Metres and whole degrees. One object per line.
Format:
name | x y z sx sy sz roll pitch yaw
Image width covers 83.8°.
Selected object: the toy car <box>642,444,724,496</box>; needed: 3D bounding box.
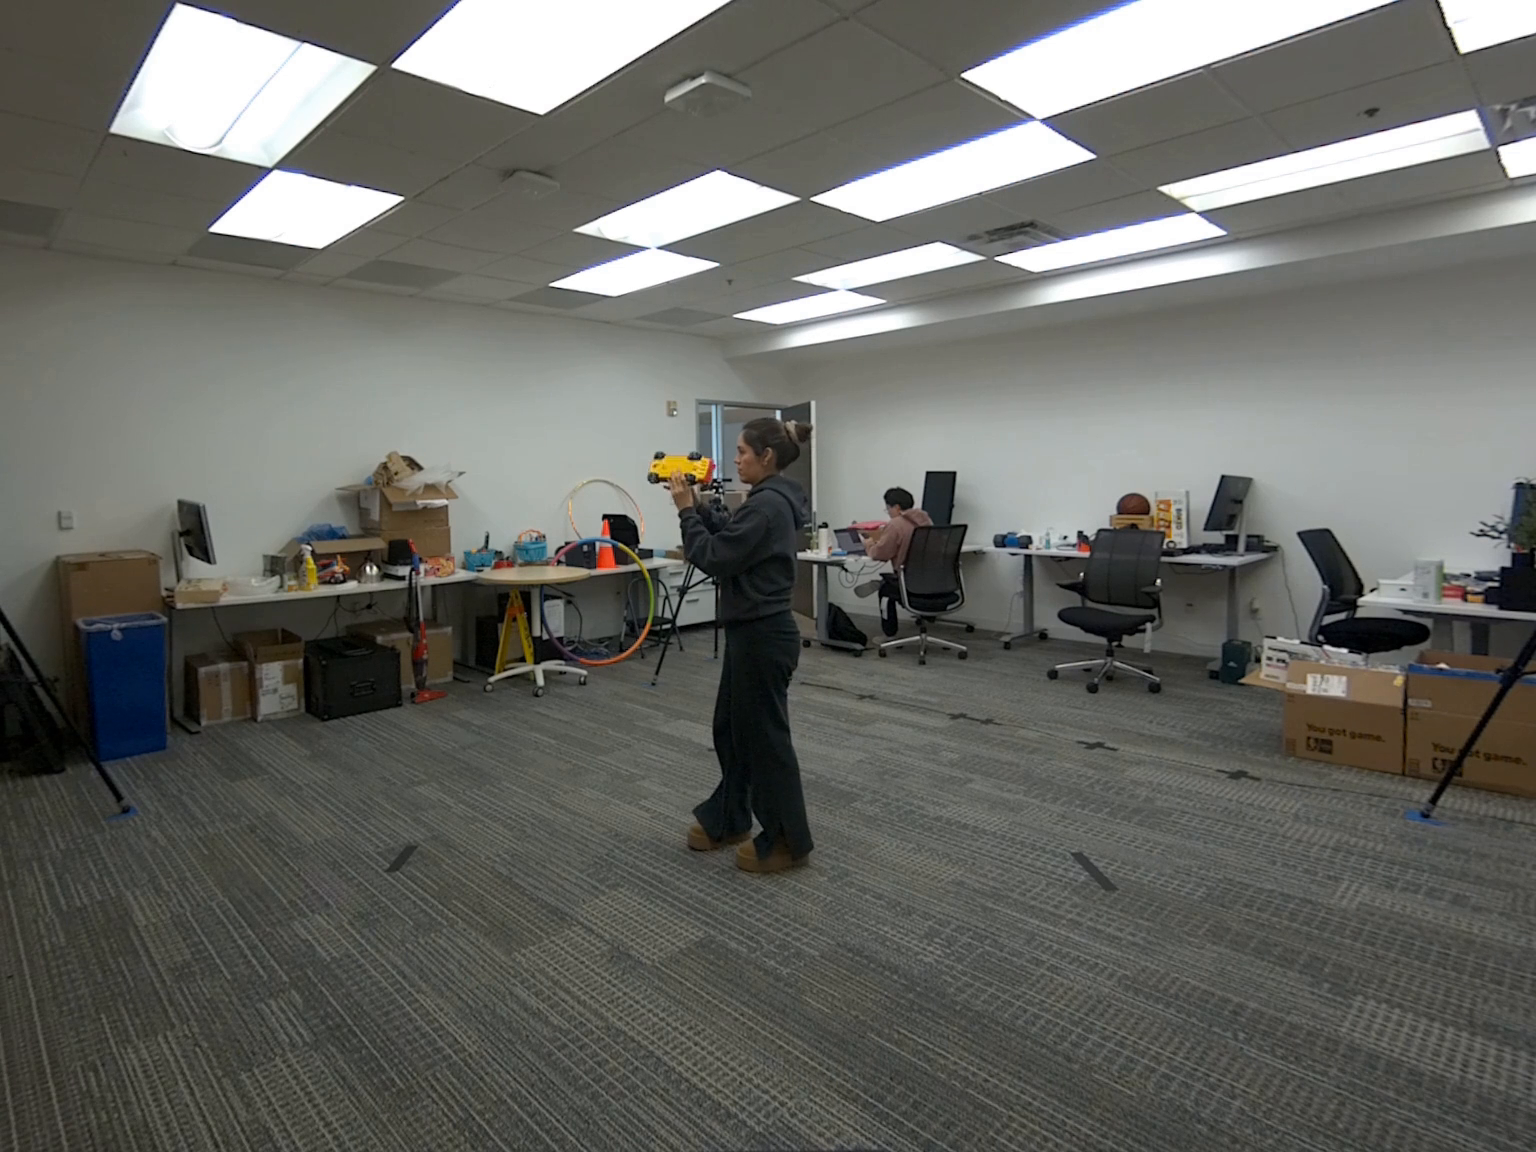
toy car | -0.306 -0.384 3.074 0.259 0.132 0.081 9 -21 16
